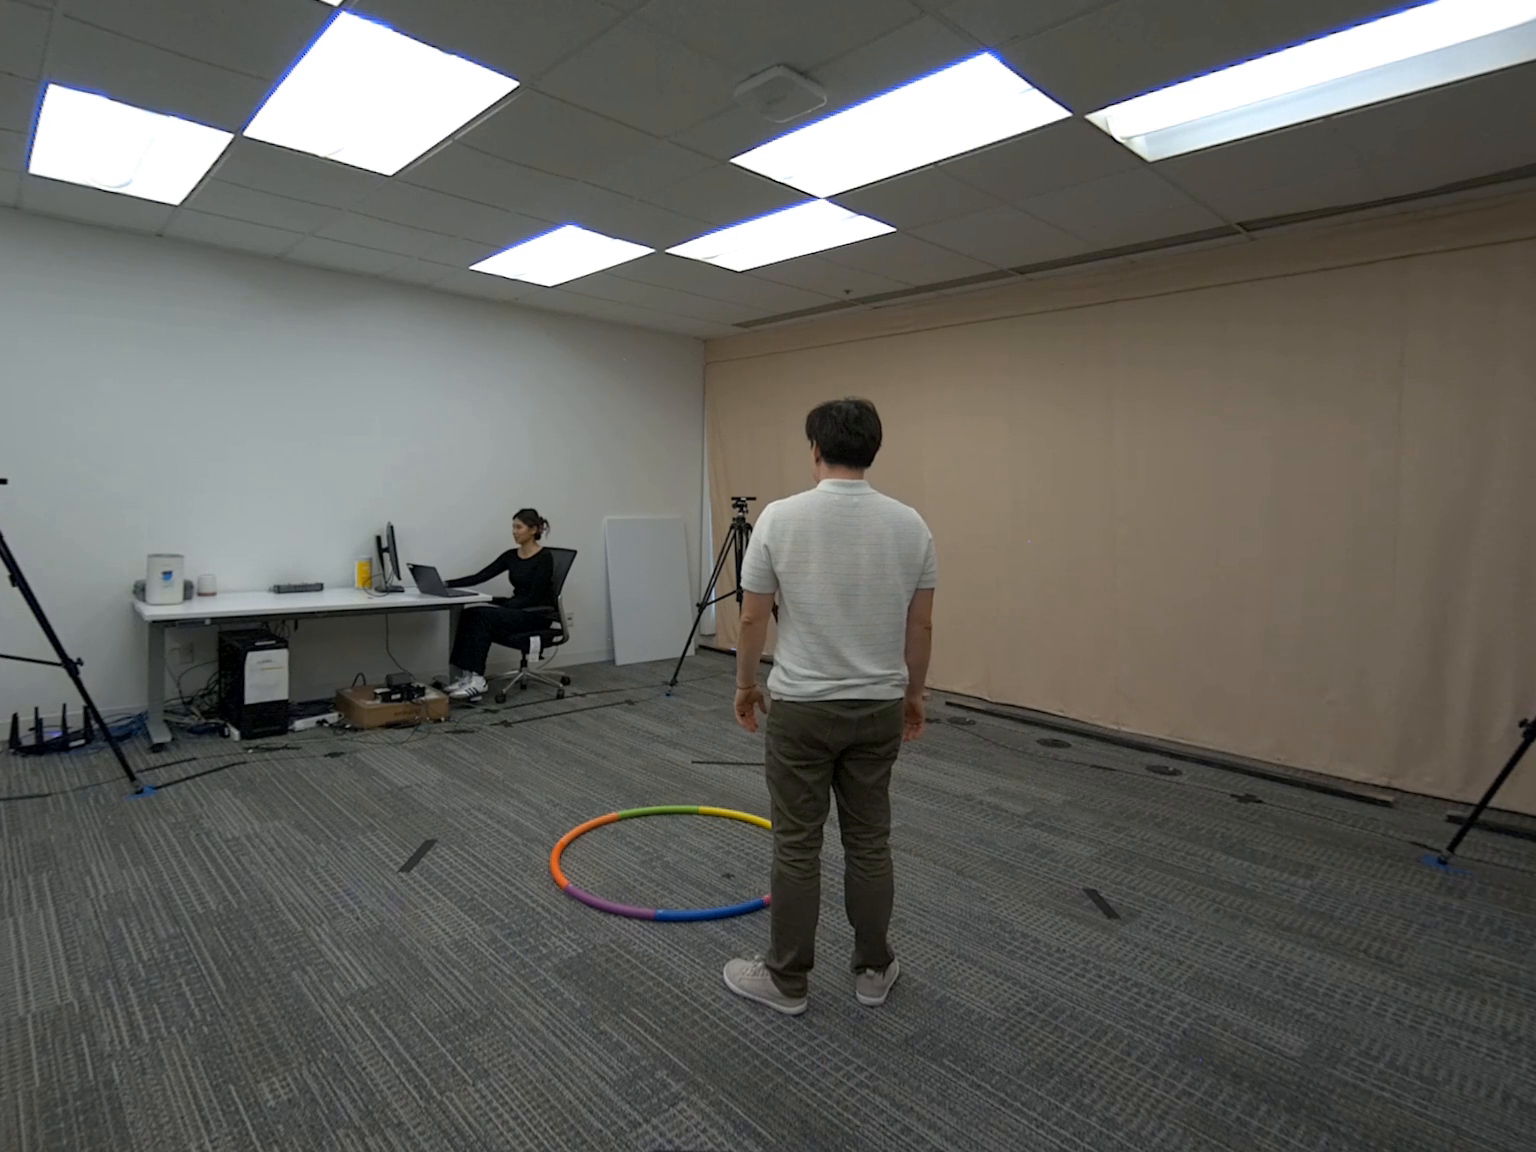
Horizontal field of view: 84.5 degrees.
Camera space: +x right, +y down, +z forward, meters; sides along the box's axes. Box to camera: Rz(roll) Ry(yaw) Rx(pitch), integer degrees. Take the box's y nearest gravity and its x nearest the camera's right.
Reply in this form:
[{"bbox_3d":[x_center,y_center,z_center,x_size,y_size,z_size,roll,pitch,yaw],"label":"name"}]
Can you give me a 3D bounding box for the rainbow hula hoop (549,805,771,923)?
[{"bbox_3d":[-0.338,1.063,3.236,0.978,0.035,0.982,2,6,-1],"label":"rainbow hula hoop"}]
